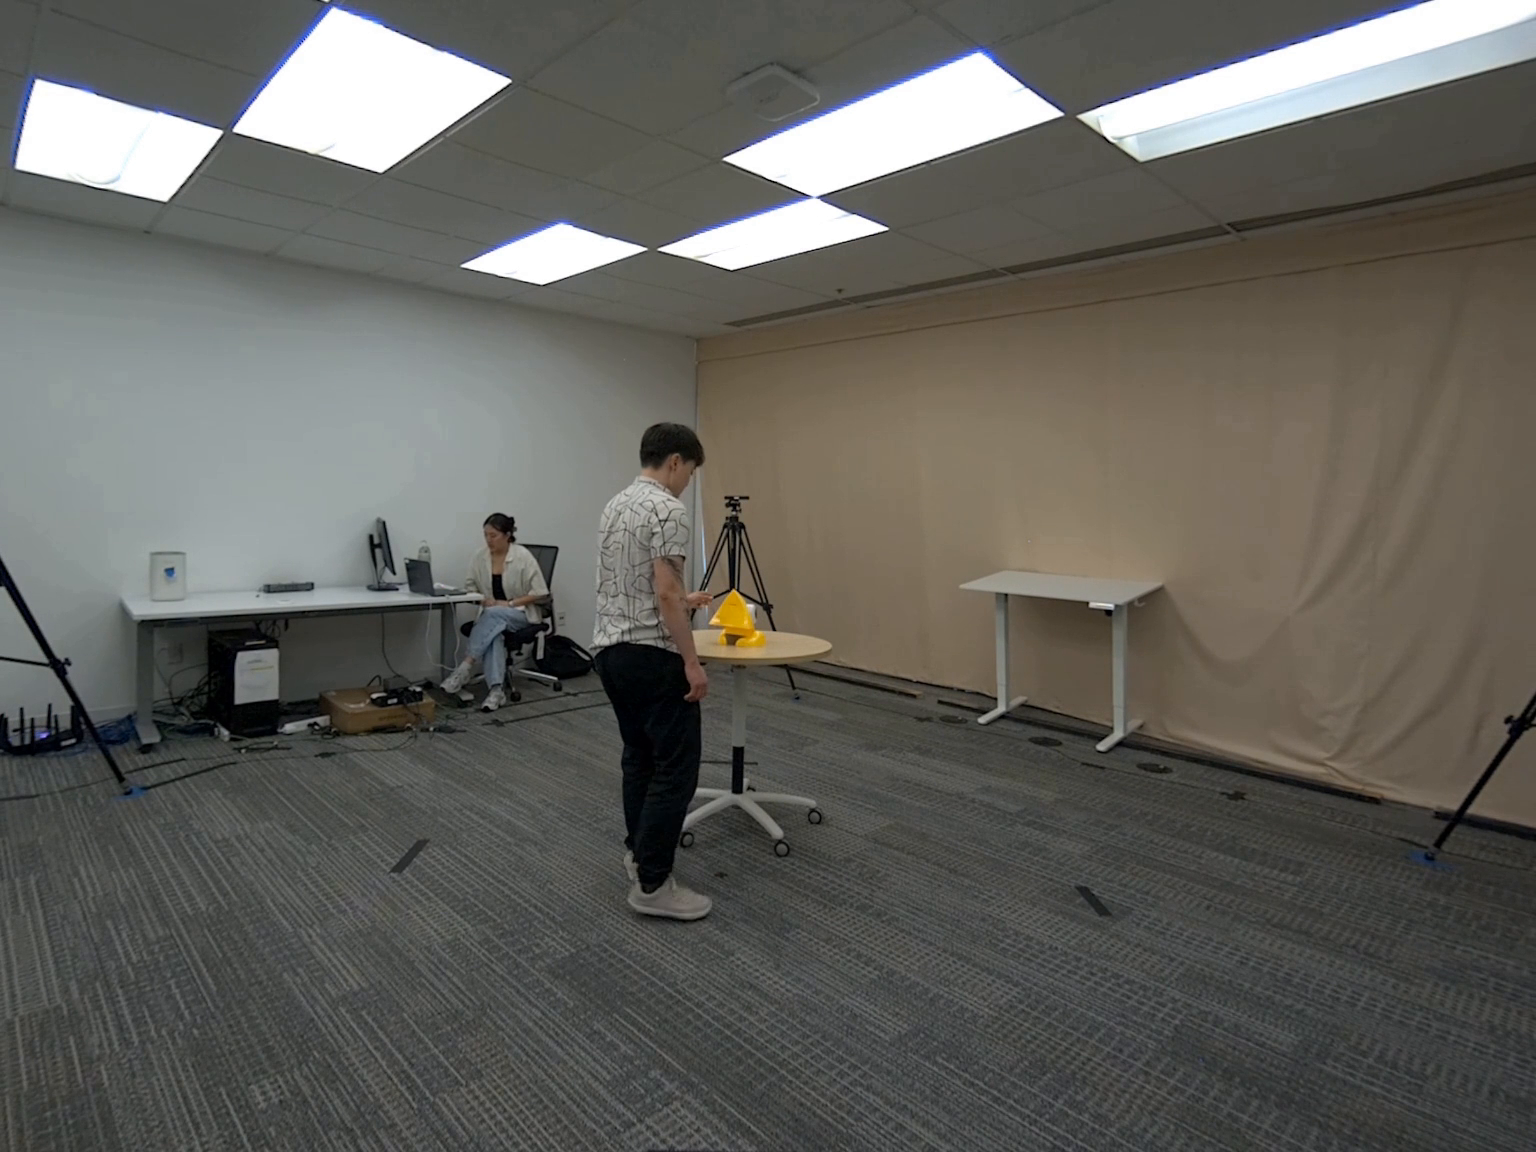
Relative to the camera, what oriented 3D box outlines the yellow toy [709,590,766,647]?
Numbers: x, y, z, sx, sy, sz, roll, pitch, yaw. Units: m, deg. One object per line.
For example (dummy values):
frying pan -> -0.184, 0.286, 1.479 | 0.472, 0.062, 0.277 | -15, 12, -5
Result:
yellow toy -> -0.124, 0.170, 3.540 | 0.209, 0.230, 0.189 | 3, 3, 35
